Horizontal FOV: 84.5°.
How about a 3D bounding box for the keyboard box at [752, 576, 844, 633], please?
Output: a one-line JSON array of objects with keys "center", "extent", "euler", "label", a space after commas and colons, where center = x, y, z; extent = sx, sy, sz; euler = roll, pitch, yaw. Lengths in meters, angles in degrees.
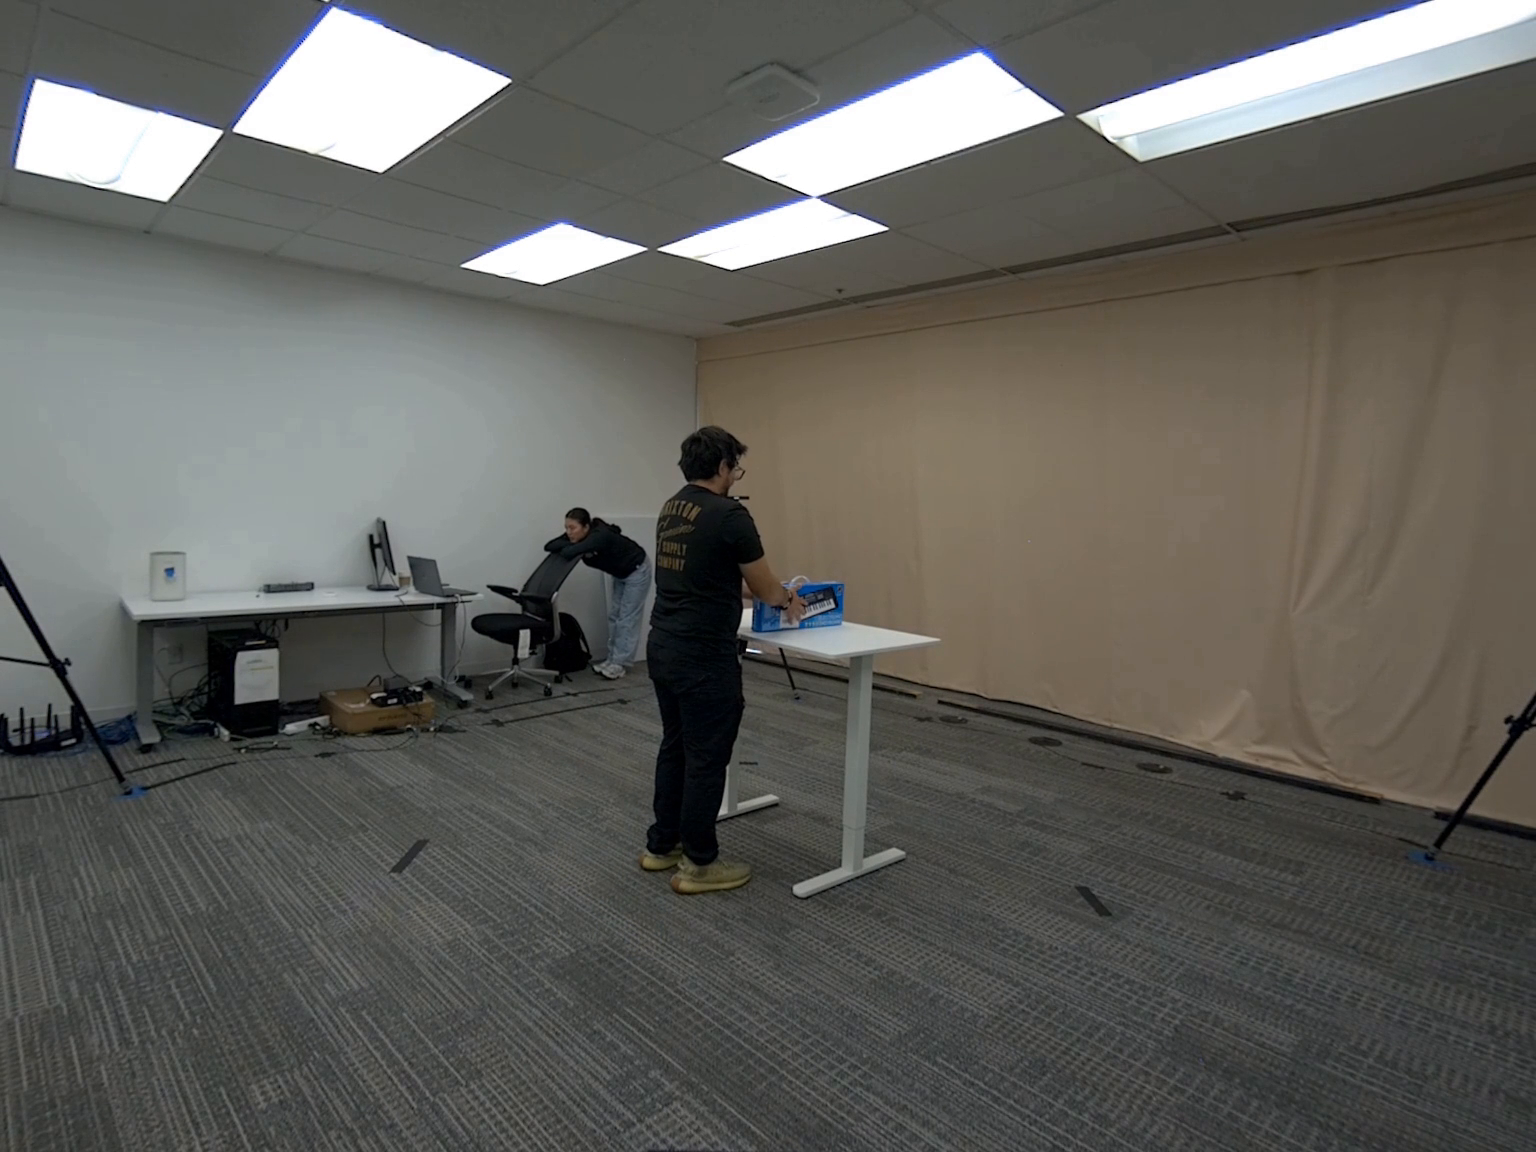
[{"center": [0.120, 0.122, 3.337], "extent": [0.427, 0.175, 0.060], "euler": [-3, 7, -39], "label": "keyboard box"}]
